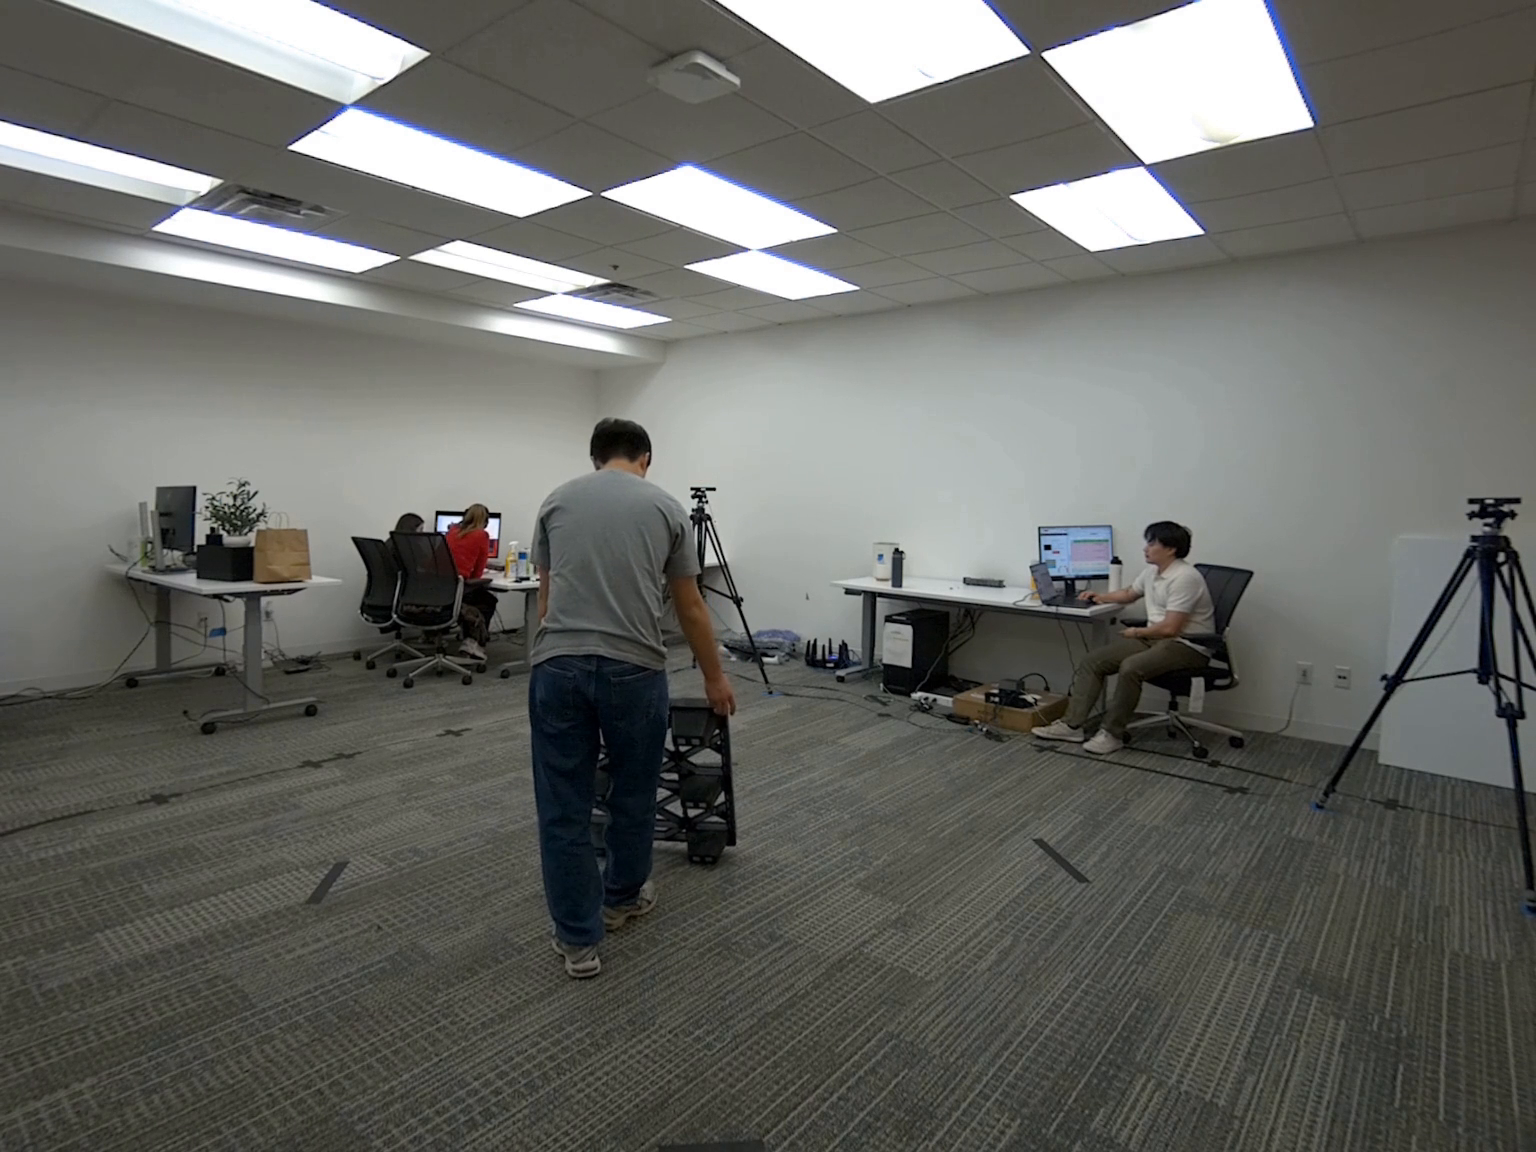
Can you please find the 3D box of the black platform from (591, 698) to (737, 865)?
[{"bbox_3d":[-0.435,0.745,2.992,0.610,0.782,0.146,3,39,6],"label":"black platform"}]
